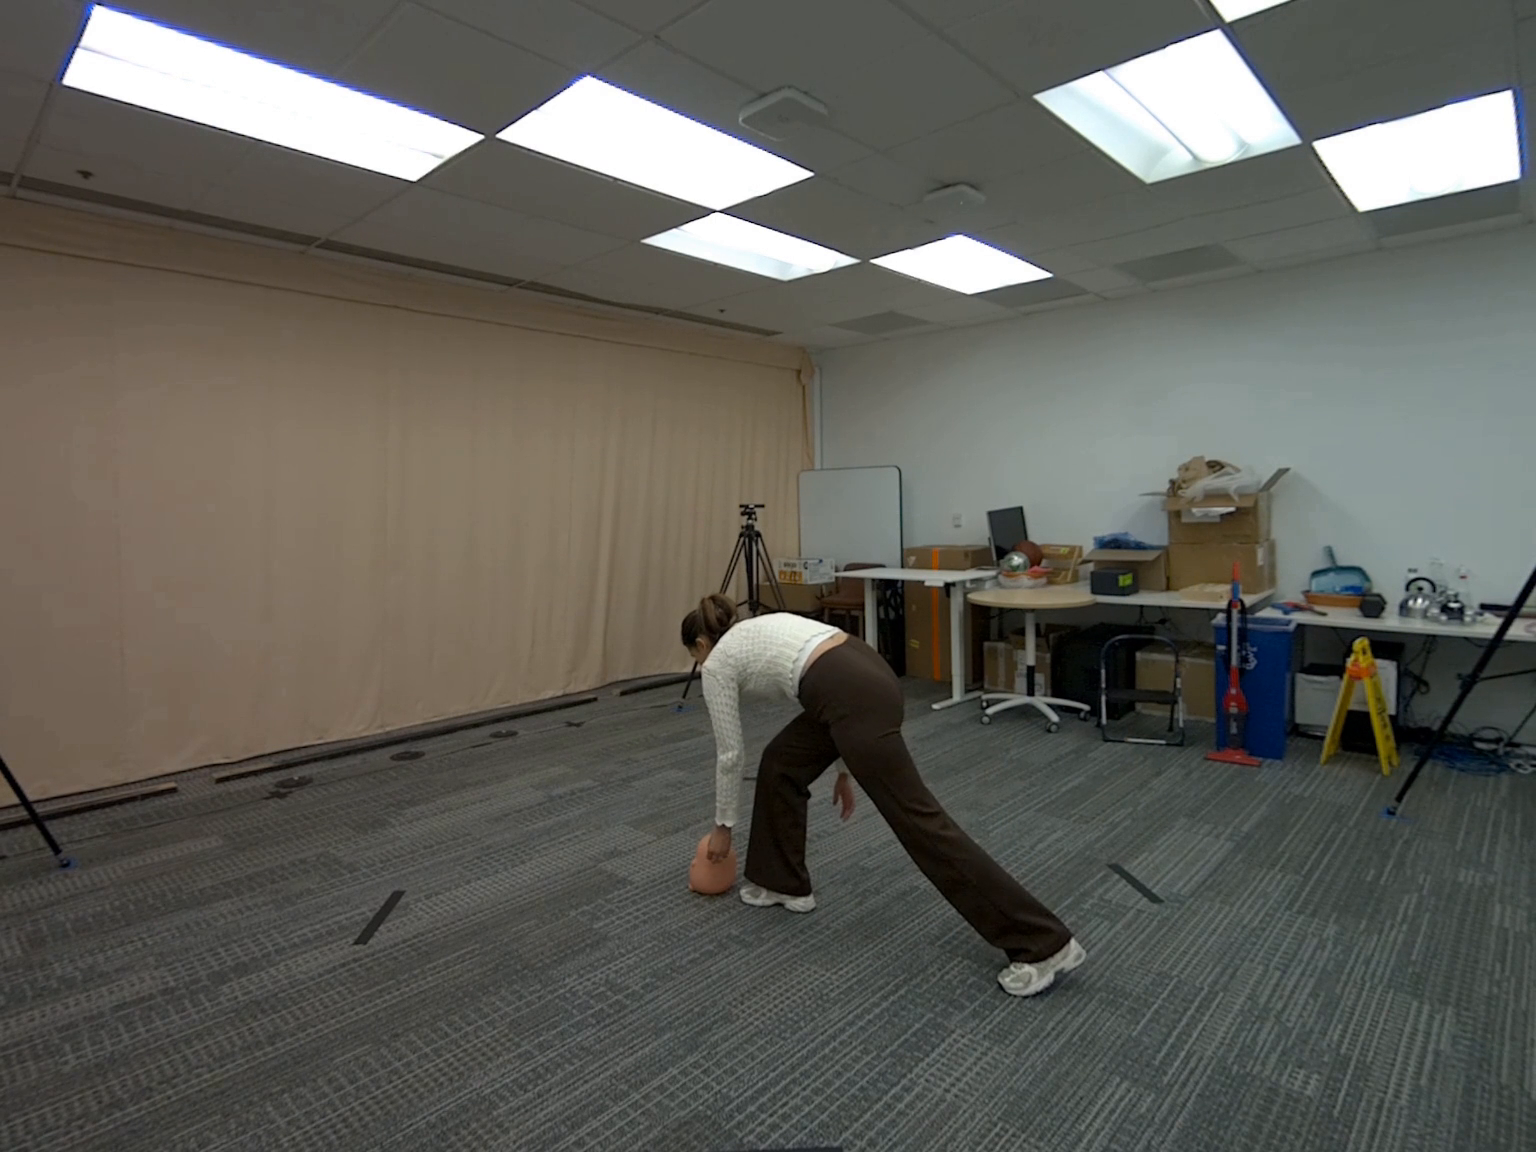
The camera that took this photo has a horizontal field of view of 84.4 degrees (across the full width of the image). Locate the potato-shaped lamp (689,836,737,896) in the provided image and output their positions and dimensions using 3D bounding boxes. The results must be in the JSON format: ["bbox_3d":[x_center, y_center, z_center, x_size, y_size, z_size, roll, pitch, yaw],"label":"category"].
[{"bbox_3d":[-0.201,1.037,3.048,0.176,0.198,0.161,-2,4,26],"label":"potato-shaped lamp"}]
